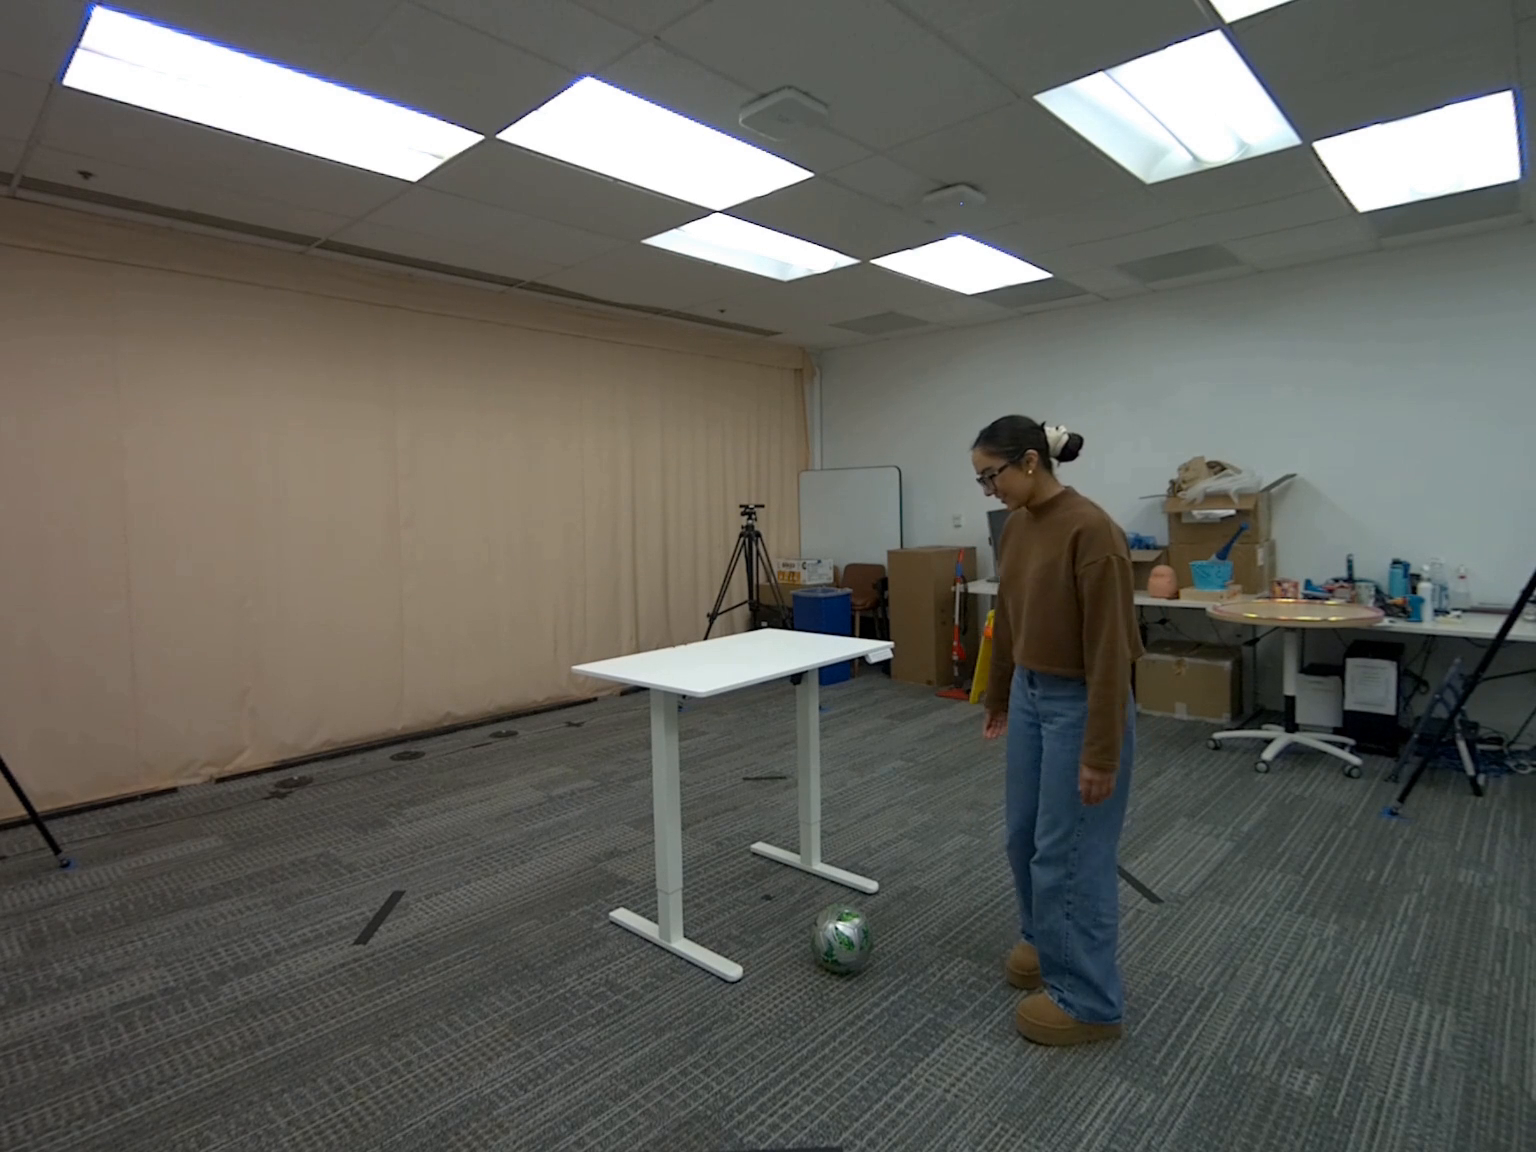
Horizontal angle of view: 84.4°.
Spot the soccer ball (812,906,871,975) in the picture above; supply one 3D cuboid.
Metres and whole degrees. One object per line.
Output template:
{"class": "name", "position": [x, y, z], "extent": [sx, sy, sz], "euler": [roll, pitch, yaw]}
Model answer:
{"class": "soccer ball", "position": [0.225, 1.084, 2.513], "extent": [0.187, 0.187, 0.188], "euler": [-1, 4, -2]}
